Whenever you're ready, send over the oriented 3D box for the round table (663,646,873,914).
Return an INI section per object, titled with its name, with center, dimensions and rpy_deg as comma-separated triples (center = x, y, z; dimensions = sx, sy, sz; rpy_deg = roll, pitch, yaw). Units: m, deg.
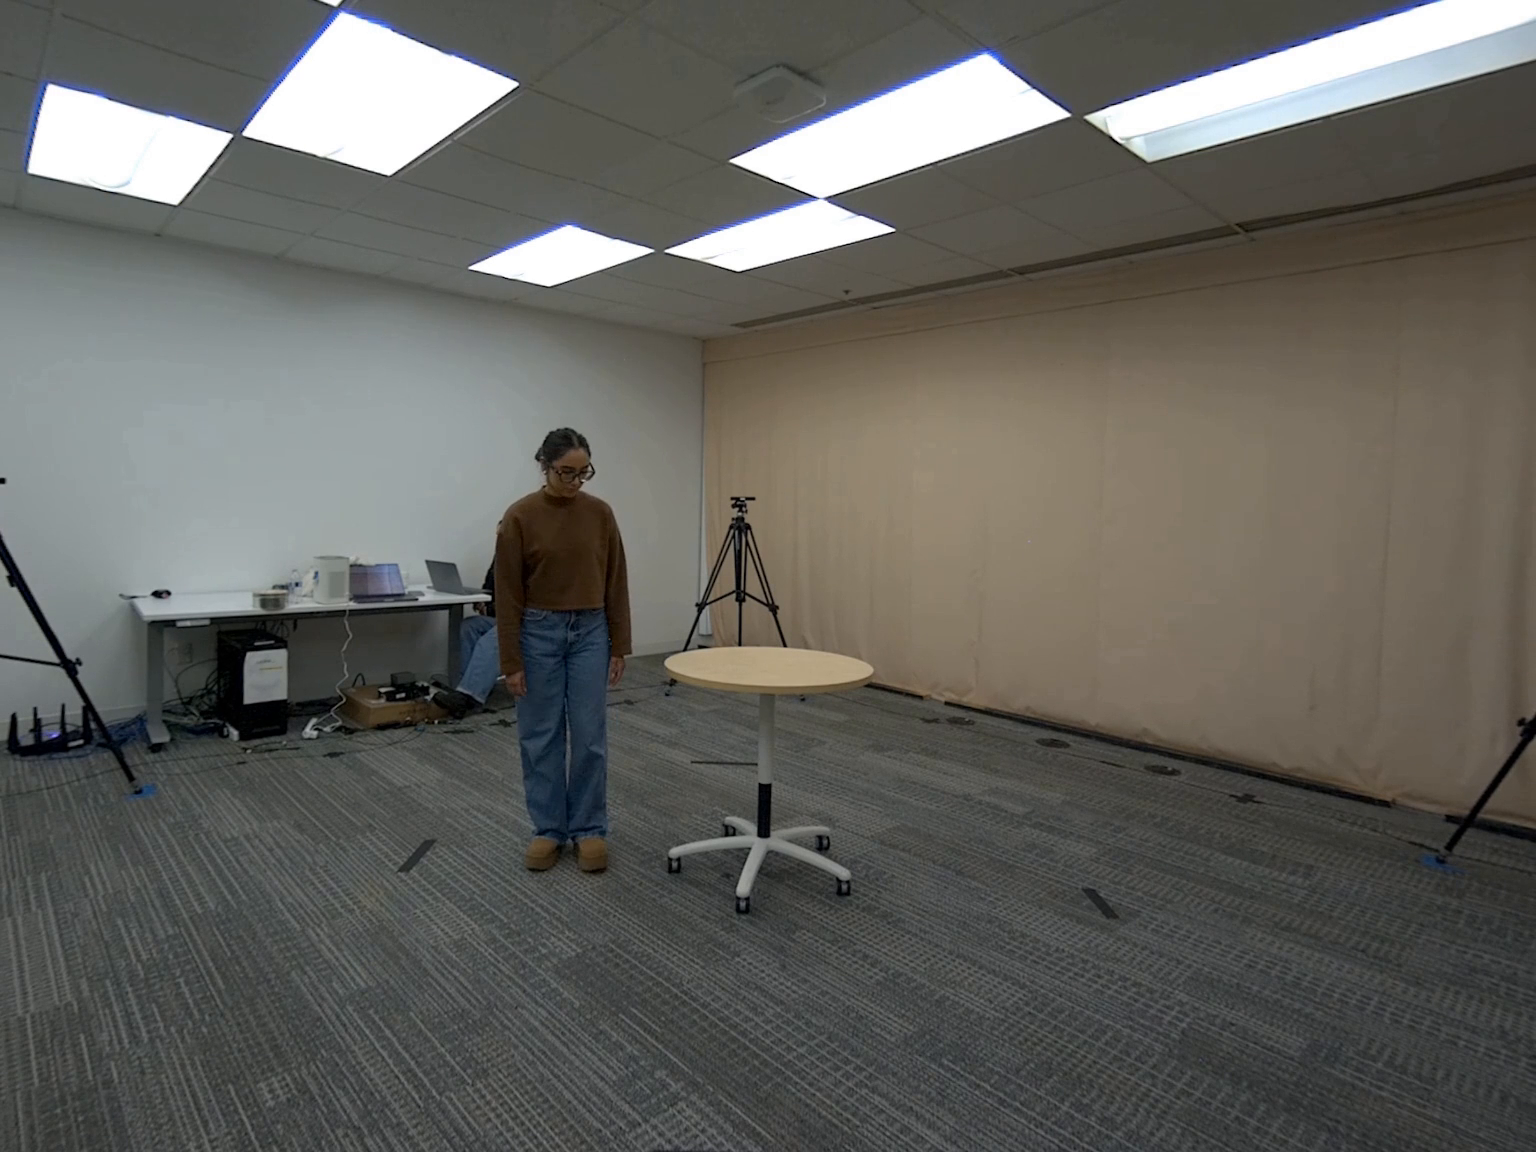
[round table]
center = -0.020, 0.718, 3.126
dimensions = 0.763, 0.792, 0.766
rpy_deg = 1, 4, -1
